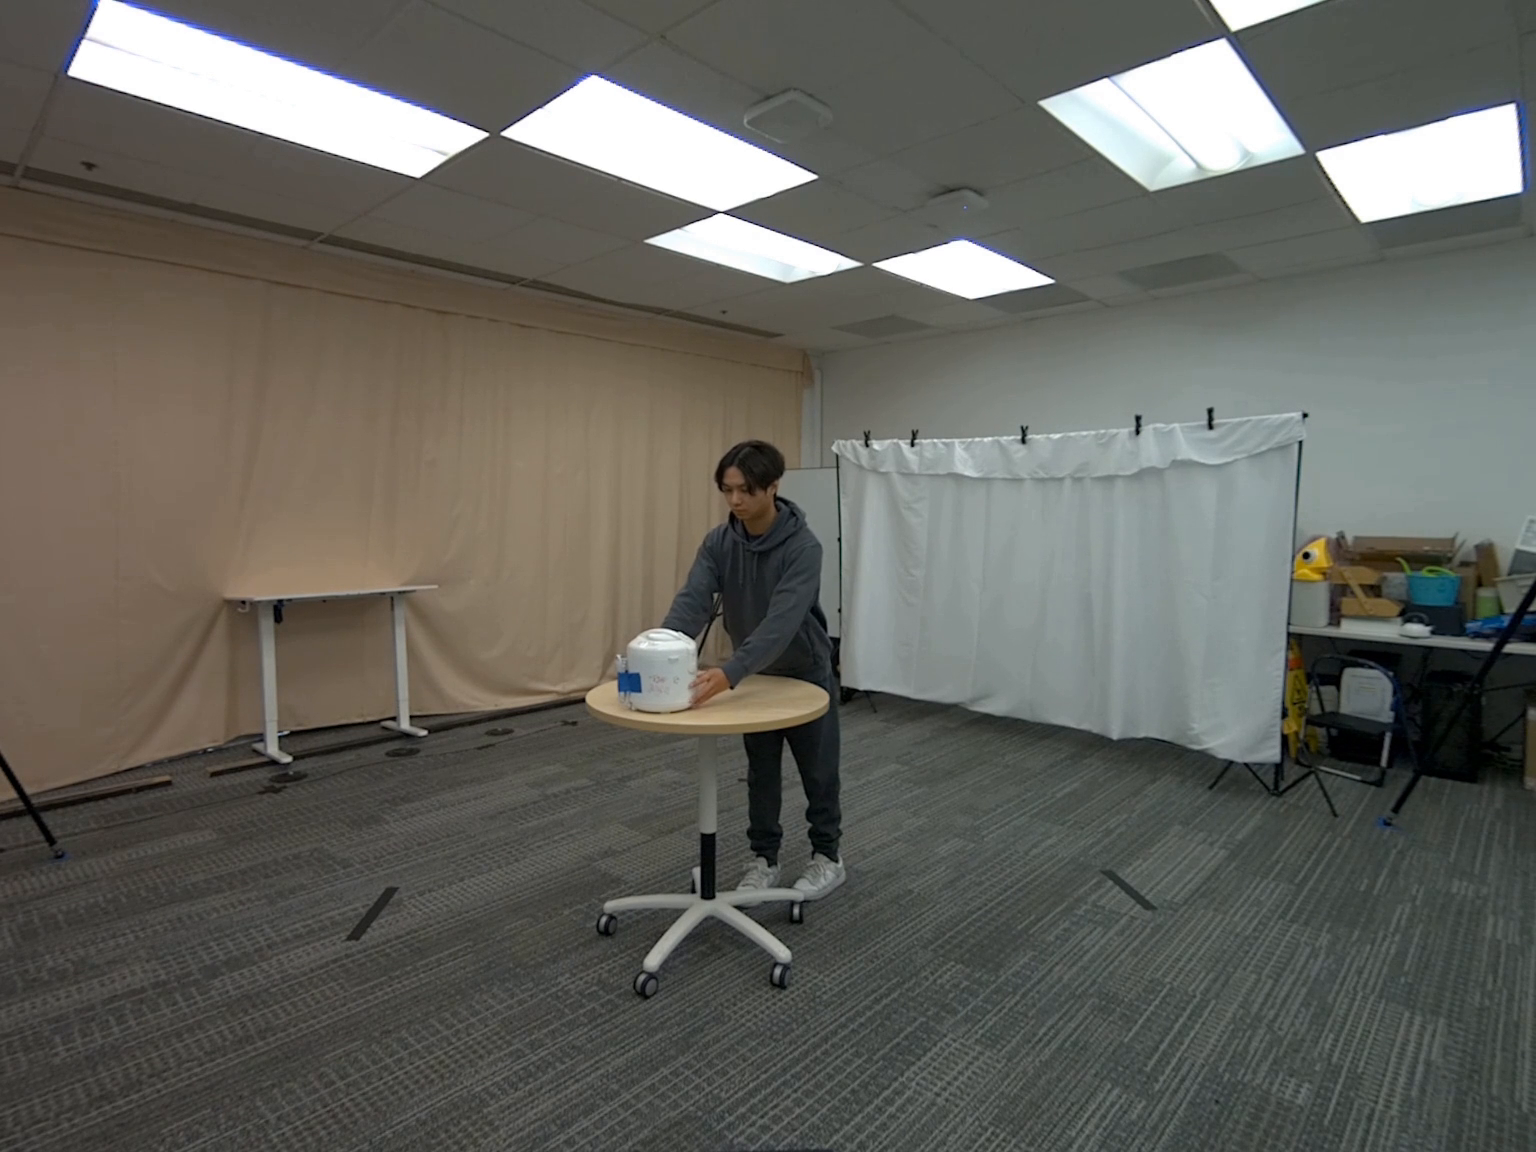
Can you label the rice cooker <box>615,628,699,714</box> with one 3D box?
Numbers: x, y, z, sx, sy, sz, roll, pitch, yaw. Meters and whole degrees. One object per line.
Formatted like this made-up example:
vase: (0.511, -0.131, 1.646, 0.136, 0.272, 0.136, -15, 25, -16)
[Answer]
rice cooker: (-0.311, 0.274, 2.488, 0.227, 0.232, 0.212, 3, 4, 27)
